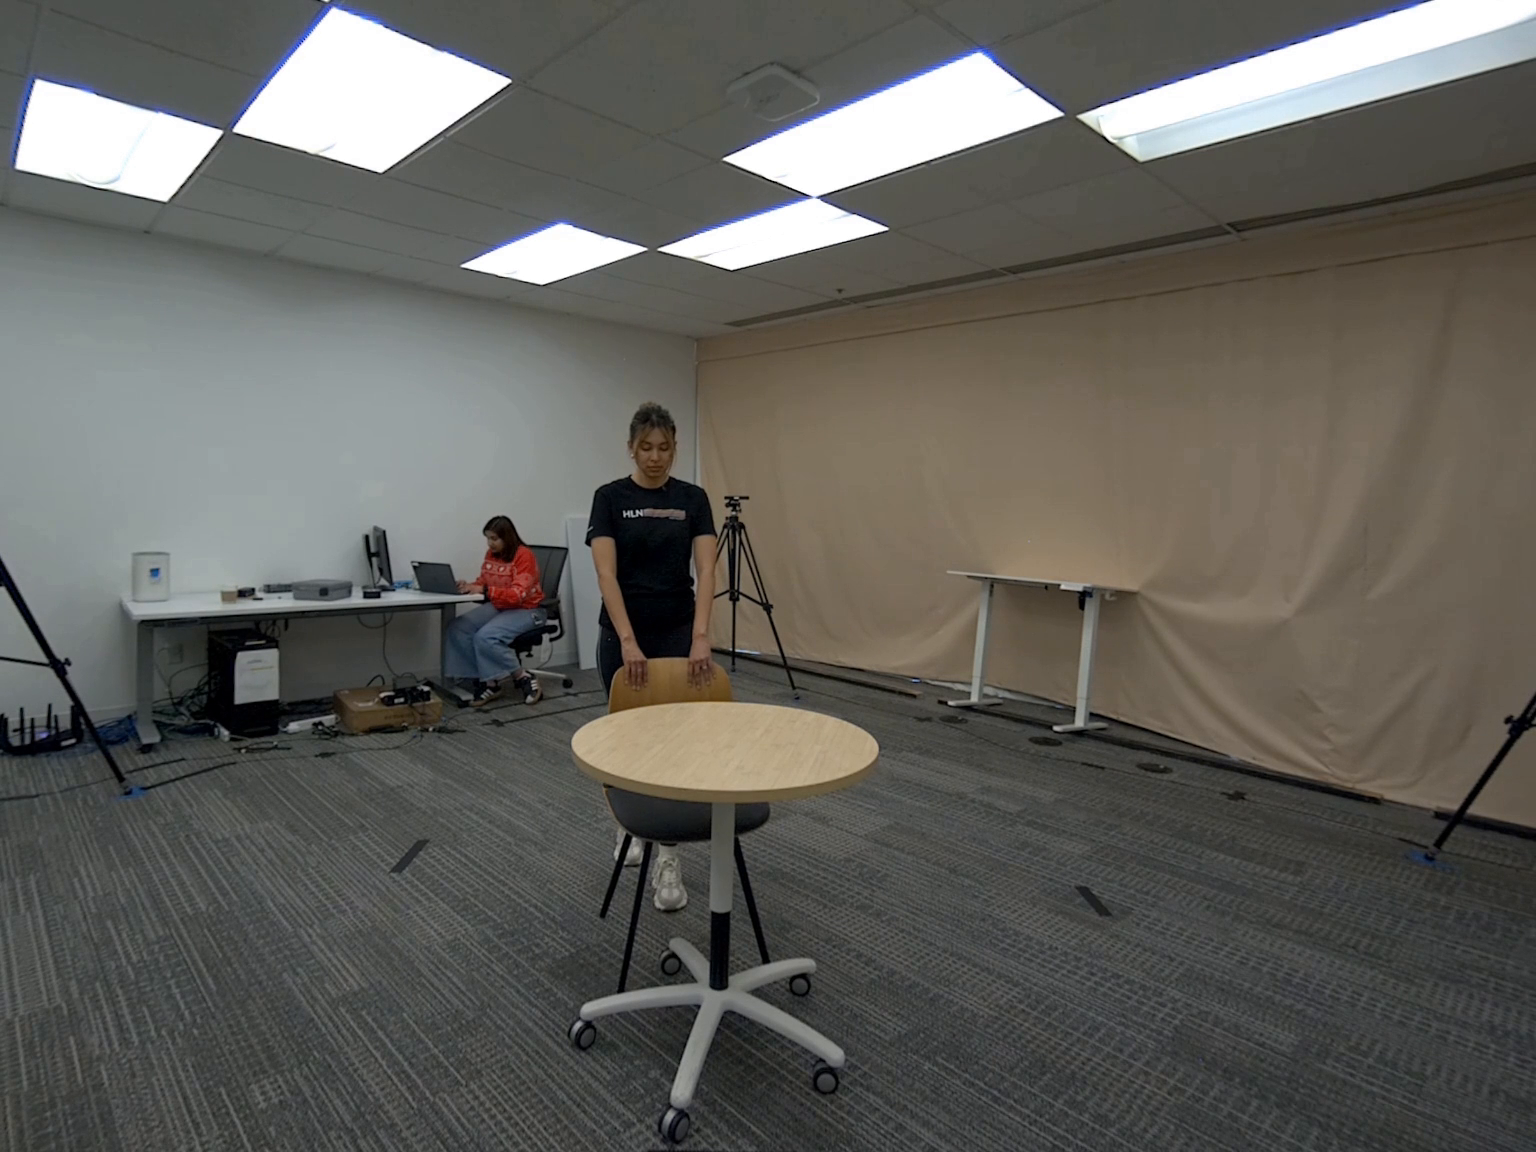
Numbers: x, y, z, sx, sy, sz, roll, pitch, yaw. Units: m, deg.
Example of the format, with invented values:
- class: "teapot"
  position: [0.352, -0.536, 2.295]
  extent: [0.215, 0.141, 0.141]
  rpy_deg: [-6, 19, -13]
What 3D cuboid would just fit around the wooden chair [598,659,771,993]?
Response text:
- class: "wooden chair"
  position: [-0.263, 0.723, 2.578]
  extent: [0.472, 0.878, 0.529]
  rpy_deg: [1, -1, -17]
